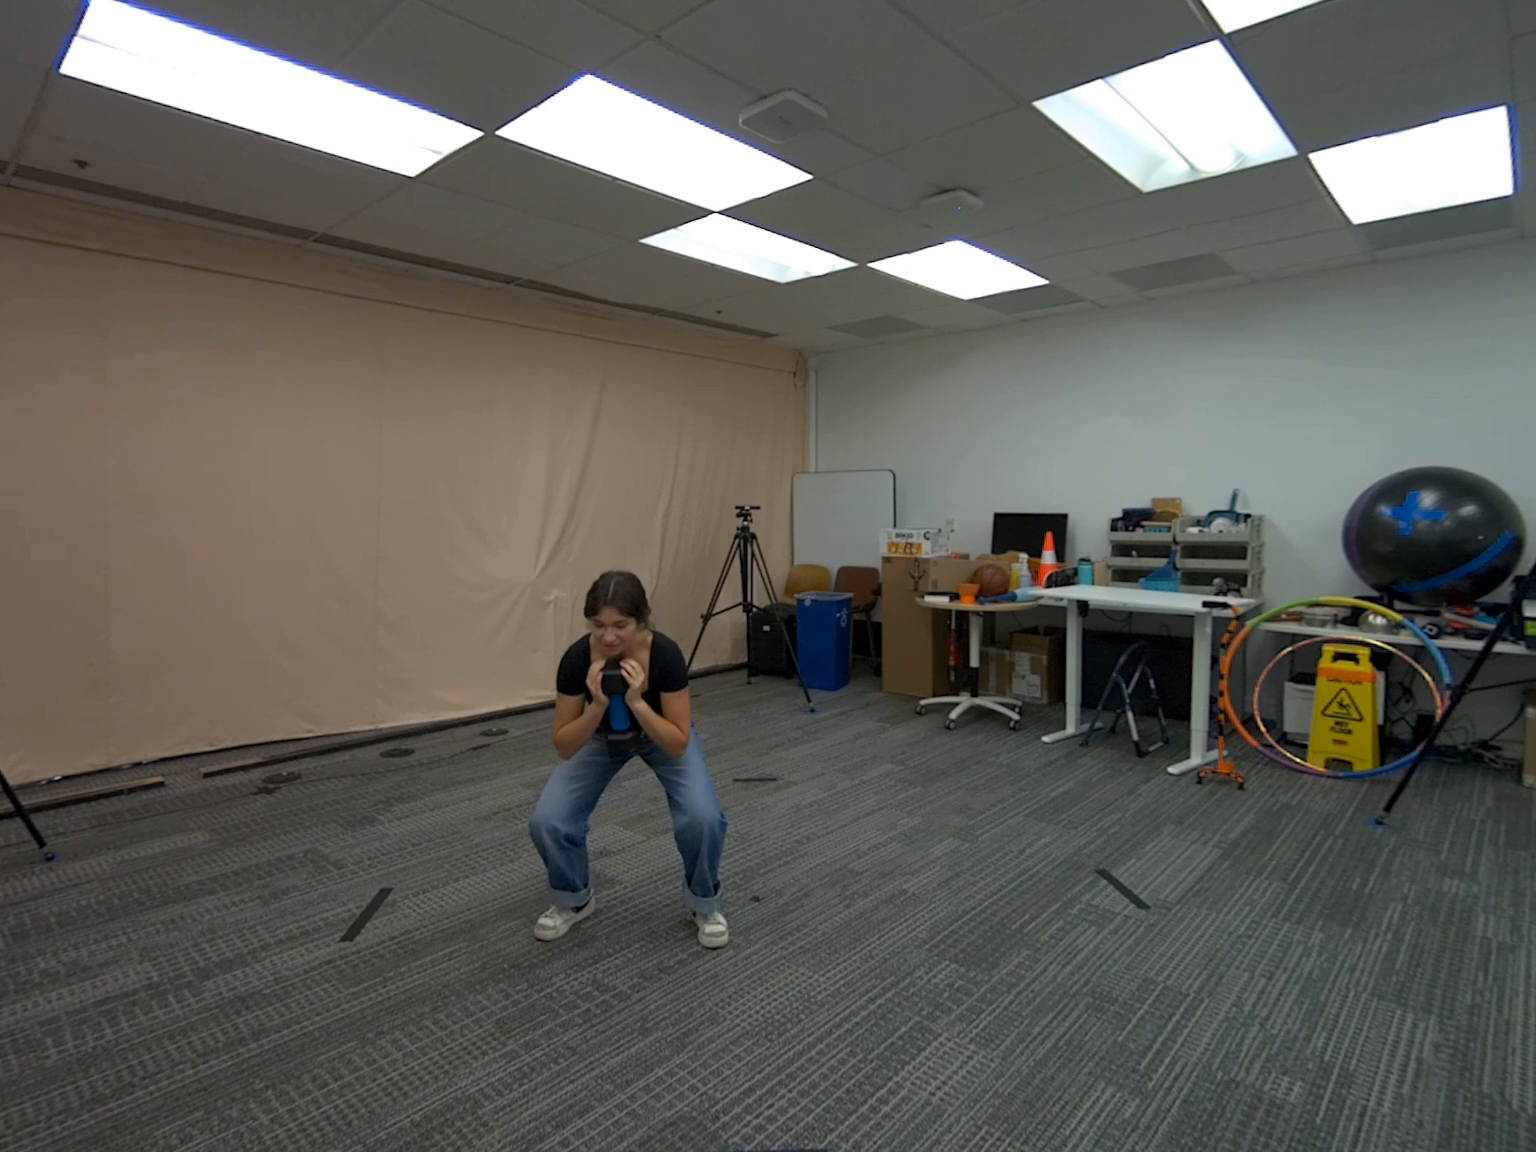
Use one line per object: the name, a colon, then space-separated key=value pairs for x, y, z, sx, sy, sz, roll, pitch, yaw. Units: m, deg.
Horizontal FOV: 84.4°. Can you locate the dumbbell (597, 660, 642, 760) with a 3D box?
dumbbell: x=-0.456 y=0.404 z=2.588 sx=0.112 sy=0.290 sz=0.121 roll=8 pitch=19 yaw=26
